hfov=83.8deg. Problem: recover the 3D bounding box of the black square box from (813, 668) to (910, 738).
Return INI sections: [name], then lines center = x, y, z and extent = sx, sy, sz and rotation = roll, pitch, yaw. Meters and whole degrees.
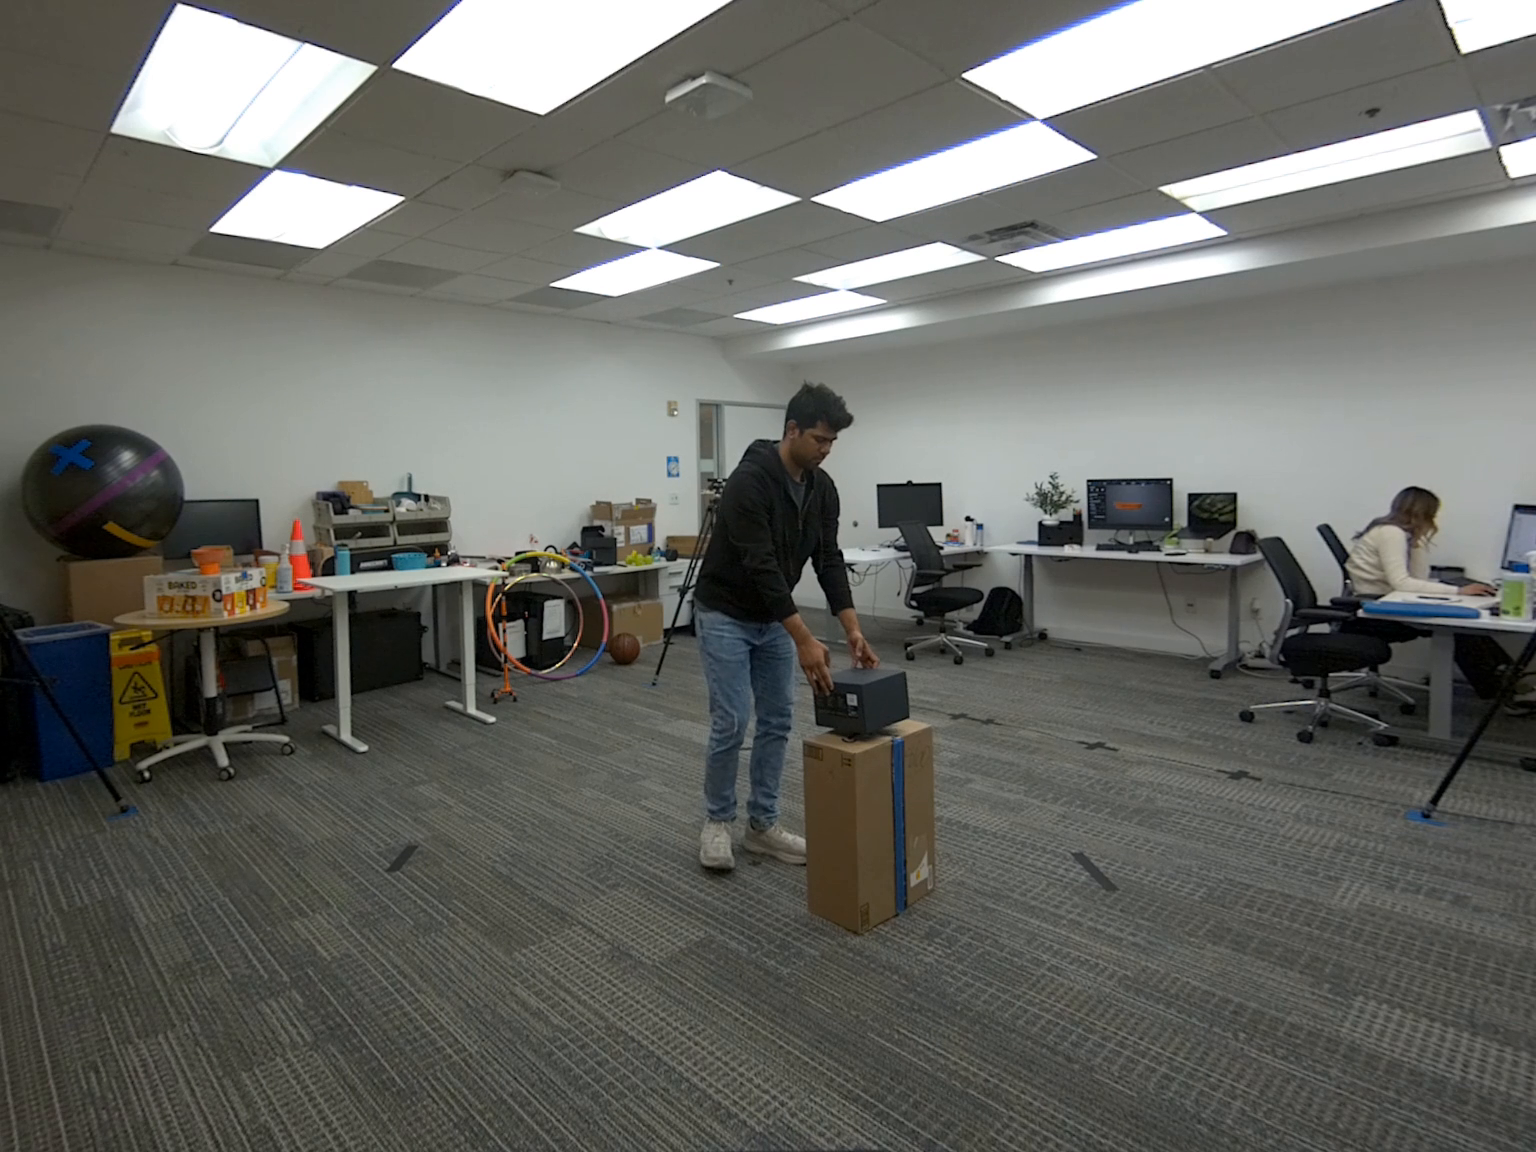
[black square box]
center = 0.301, 0.401, 2.808
extent = 0.222, 0.156, 0.223
rotation = -8, 4, -42
